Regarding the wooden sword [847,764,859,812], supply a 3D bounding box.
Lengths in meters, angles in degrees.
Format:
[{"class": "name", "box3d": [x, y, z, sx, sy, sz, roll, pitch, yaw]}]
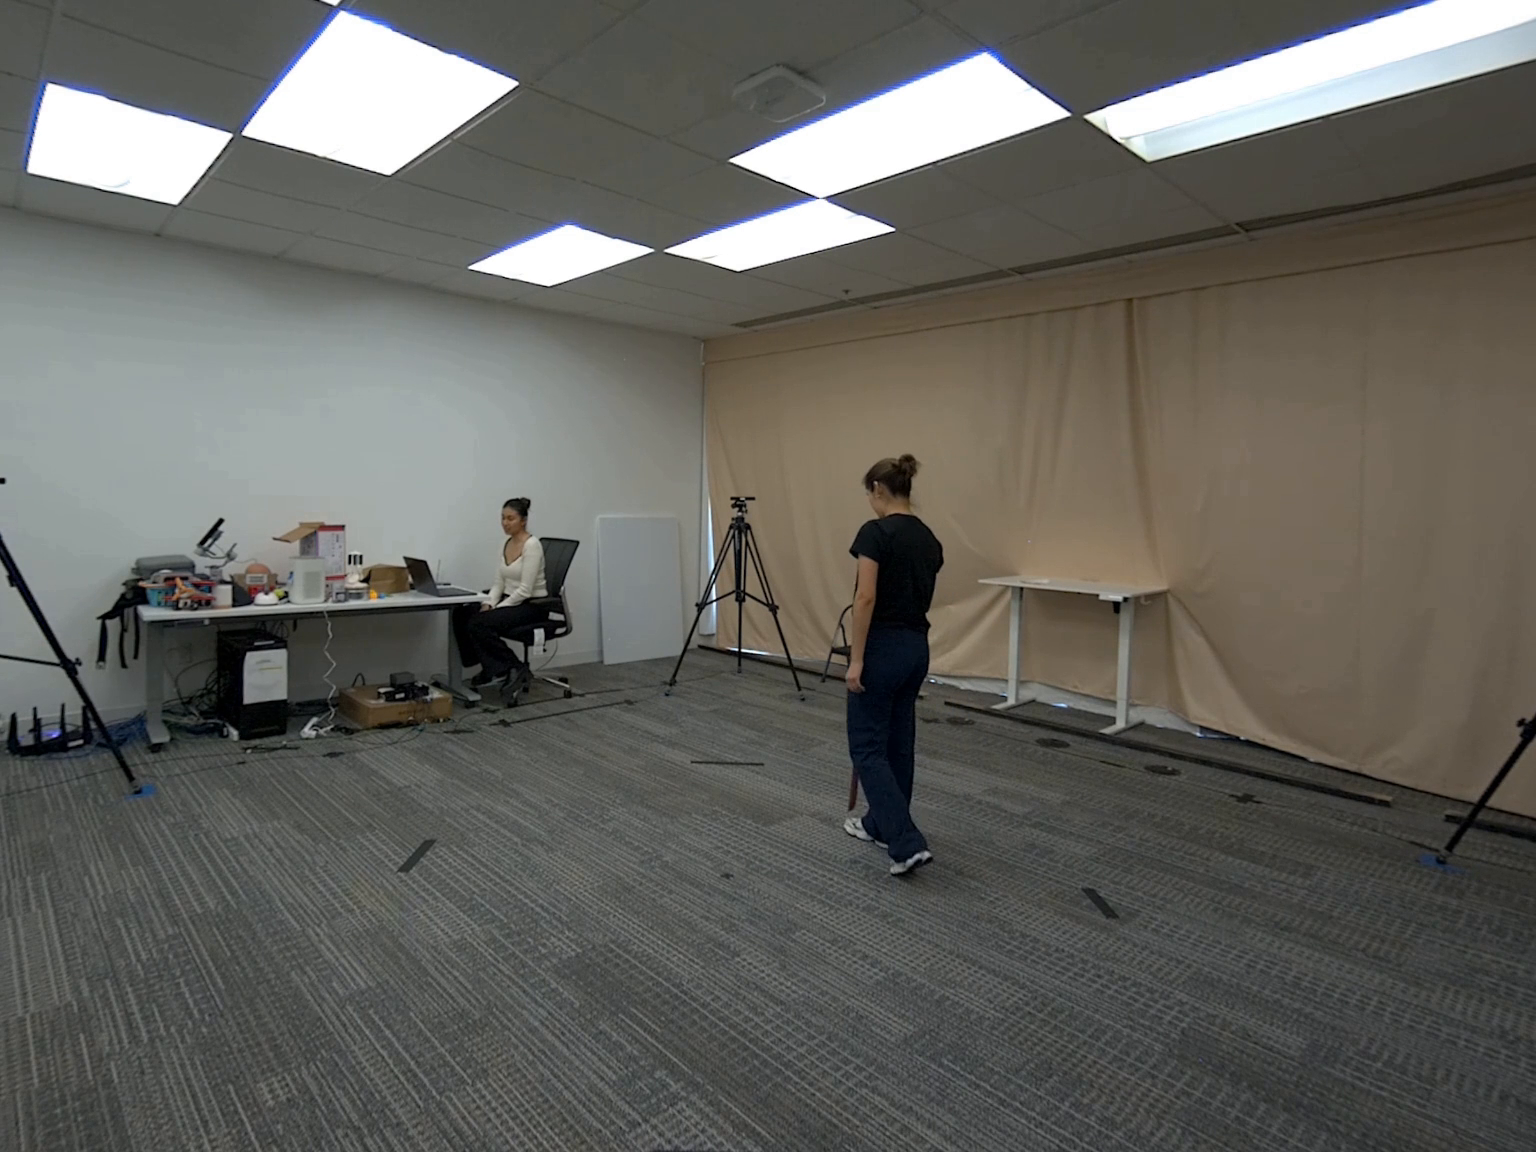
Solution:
[{"class": "wooden sword", "box3d": [0.385, 0.548, 3.682, 0.050, 1.022, 0.024, 2, 4, -18]}]
